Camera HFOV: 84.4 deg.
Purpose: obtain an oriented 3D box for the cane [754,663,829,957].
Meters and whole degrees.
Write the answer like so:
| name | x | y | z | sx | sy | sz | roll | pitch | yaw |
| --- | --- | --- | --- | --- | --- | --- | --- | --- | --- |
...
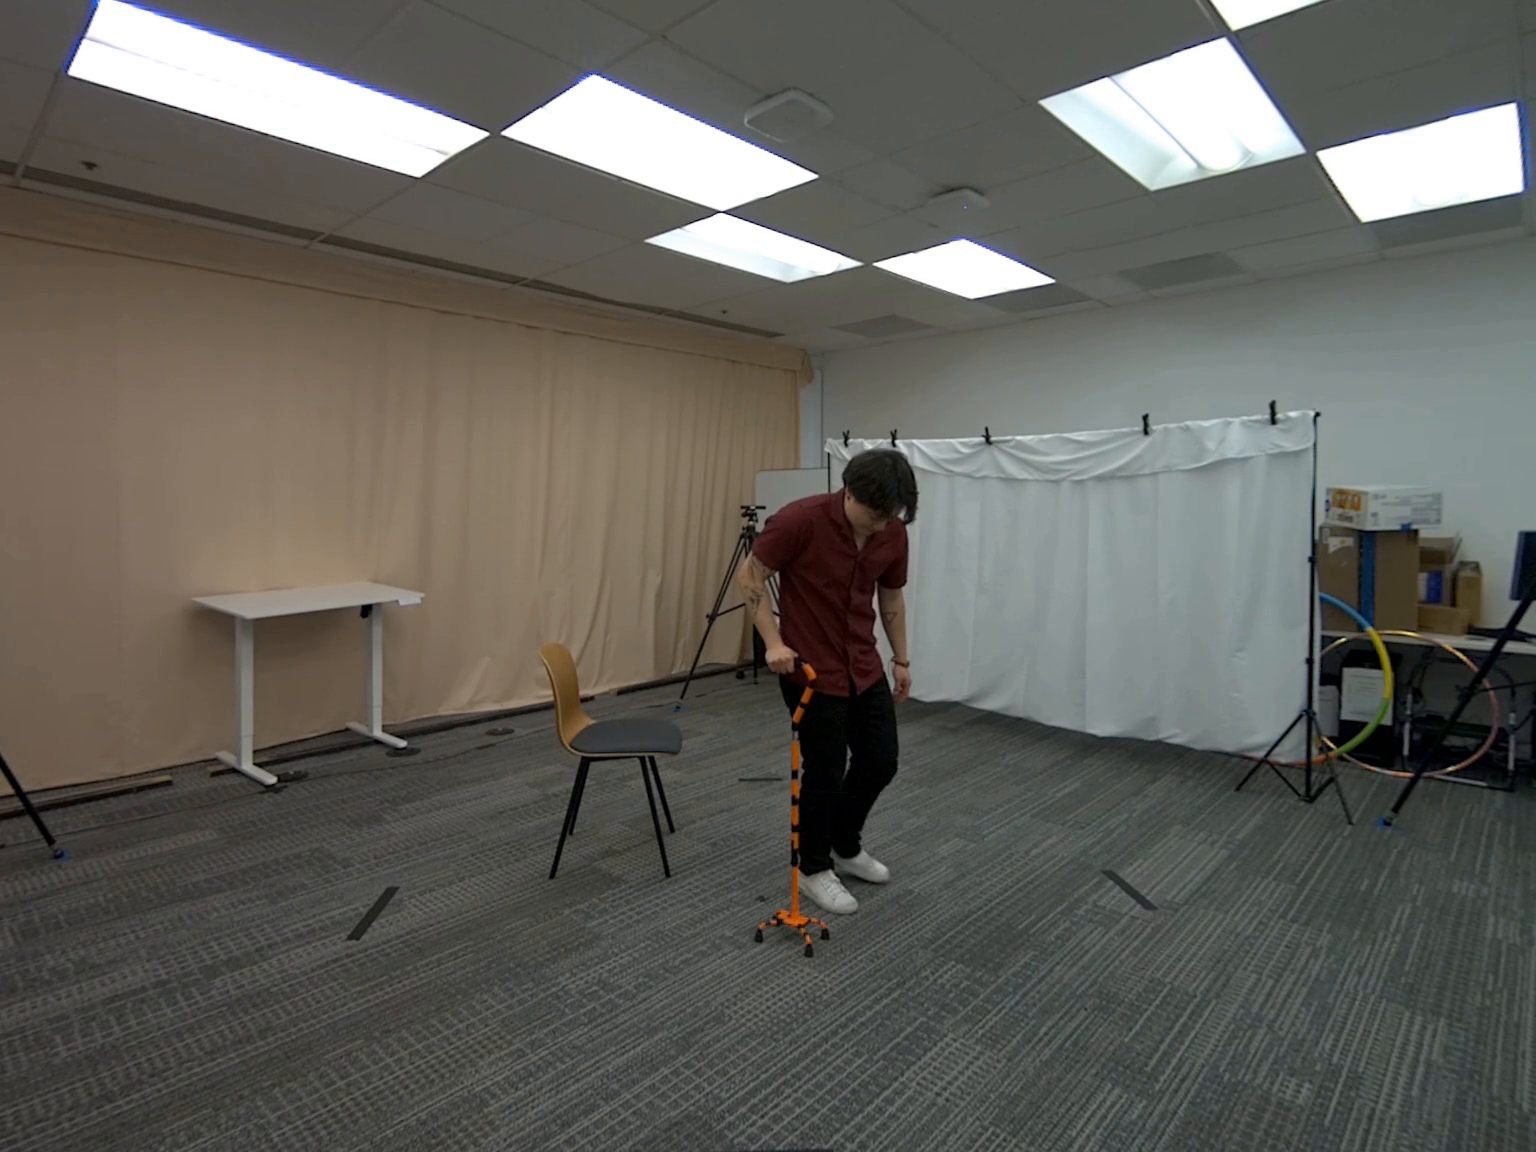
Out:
| name | x | y | z | sx | sy | sz | roll | pitch | yaw |
| --- | --- | --- | --- | --- | --- | --- | --- | --- | --- |
| cane | 0.082 | 0.720 | 2.674 | 0.212 | 0.905 | 0.148 | 3 | 5 | 28 |
